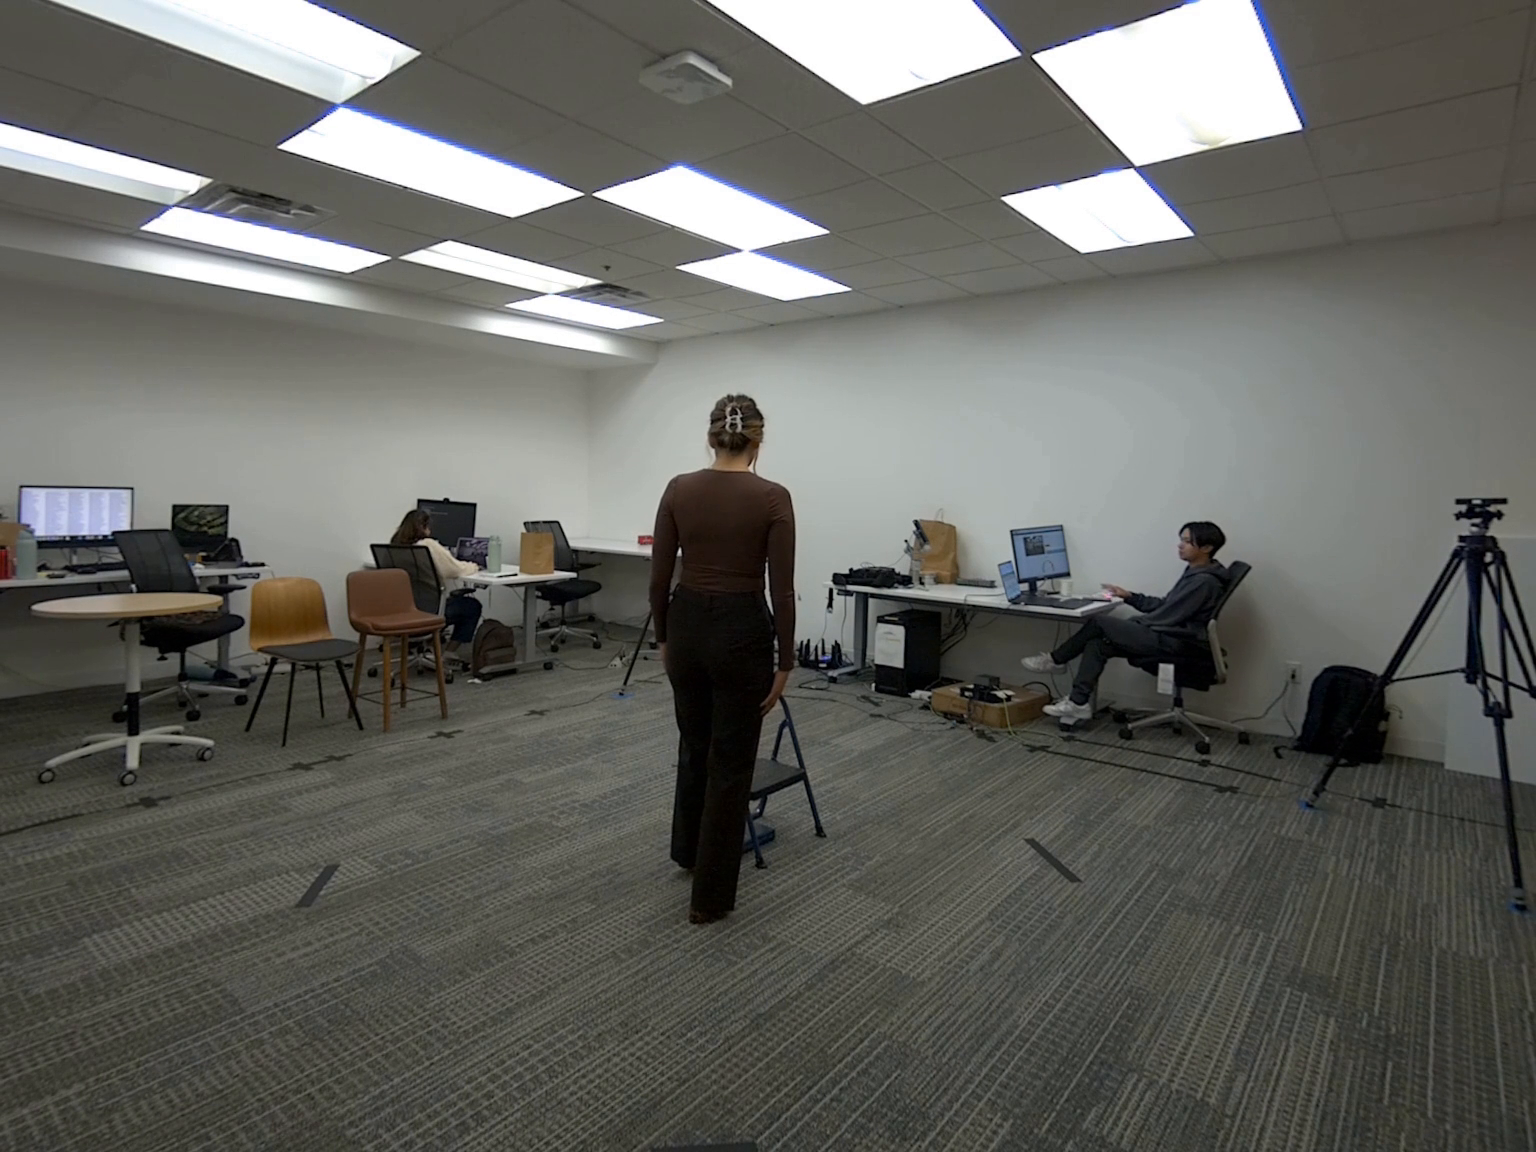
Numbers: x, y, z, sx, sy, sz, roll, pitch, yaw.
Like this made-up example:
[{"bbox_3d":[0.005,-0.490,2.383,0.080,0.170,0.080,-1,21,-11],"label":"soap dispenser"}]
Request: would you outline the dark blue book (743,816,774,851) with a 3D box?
[{"bbox_3d":[-0.118,1.022,3.340,0.169,0.045,0.238,5,6,39],"label":"dark blue book"}]
